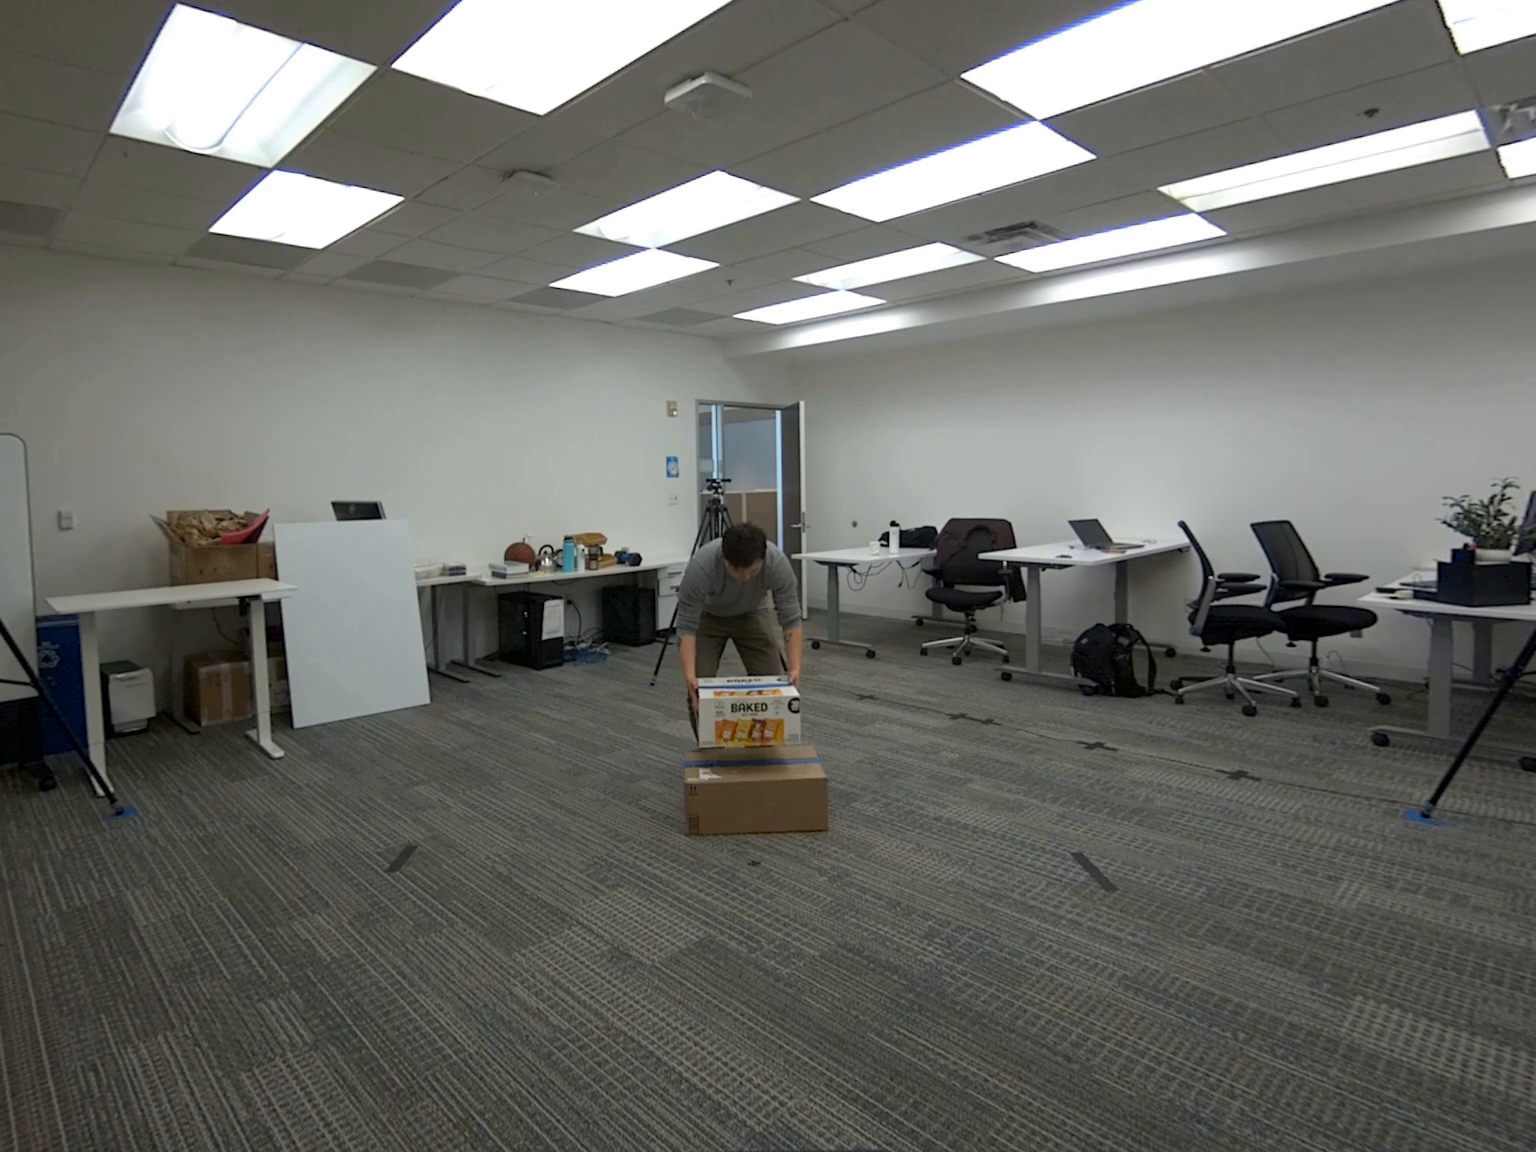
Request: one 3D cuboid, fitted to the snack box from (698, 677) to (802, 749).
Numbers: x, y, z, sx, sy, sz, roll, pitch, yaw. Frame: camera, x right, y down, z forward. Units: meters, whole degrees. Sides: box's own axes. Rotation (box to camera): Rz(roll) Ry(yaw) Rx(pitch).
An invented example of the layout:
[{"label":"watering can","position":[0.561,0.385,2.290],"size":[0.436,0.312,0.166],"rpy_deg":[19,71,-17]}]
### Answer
[{"label":"snack box","position":[-0.093,0.556,3.563],"size":[0.403,0.205,0.343],"rpy_deg":[-1,6,-5]}]
